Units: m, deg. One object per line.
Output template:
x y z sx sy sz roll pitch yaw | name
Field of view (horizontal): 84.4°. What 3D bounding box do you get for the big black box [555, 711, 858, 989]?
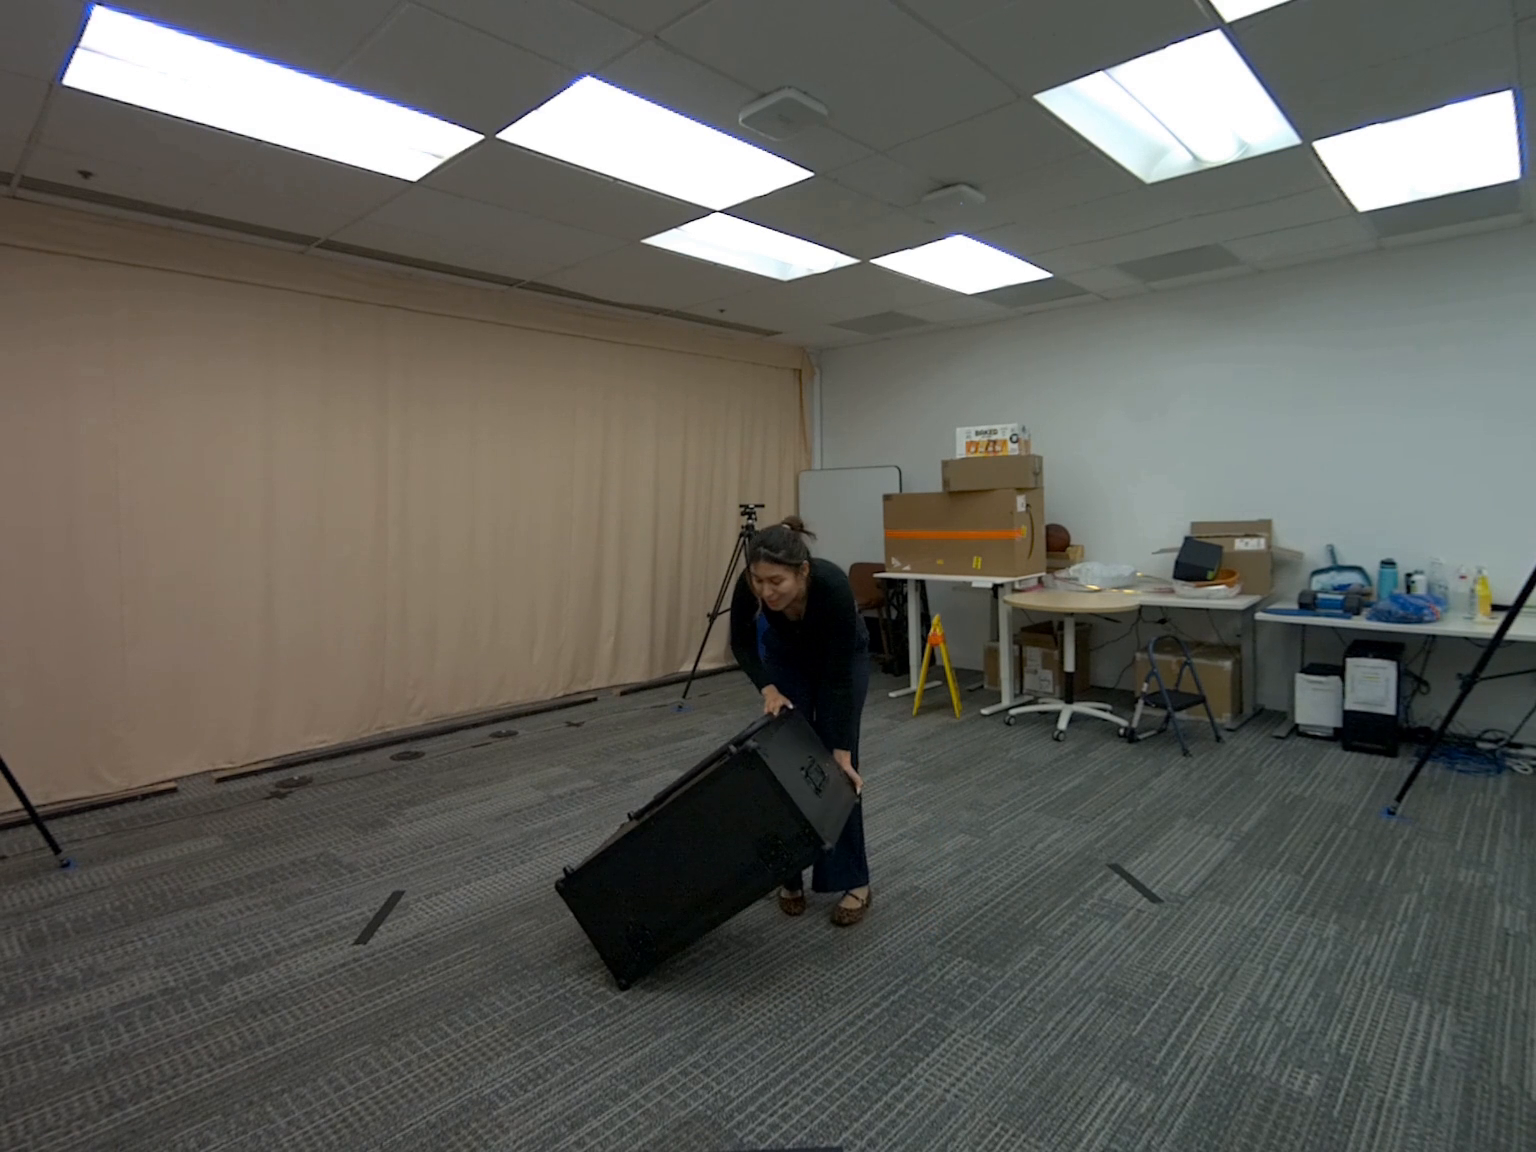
-0.205 0.811 2.572 0.867 0.400 0.513 -39 -7 15 | big black box
